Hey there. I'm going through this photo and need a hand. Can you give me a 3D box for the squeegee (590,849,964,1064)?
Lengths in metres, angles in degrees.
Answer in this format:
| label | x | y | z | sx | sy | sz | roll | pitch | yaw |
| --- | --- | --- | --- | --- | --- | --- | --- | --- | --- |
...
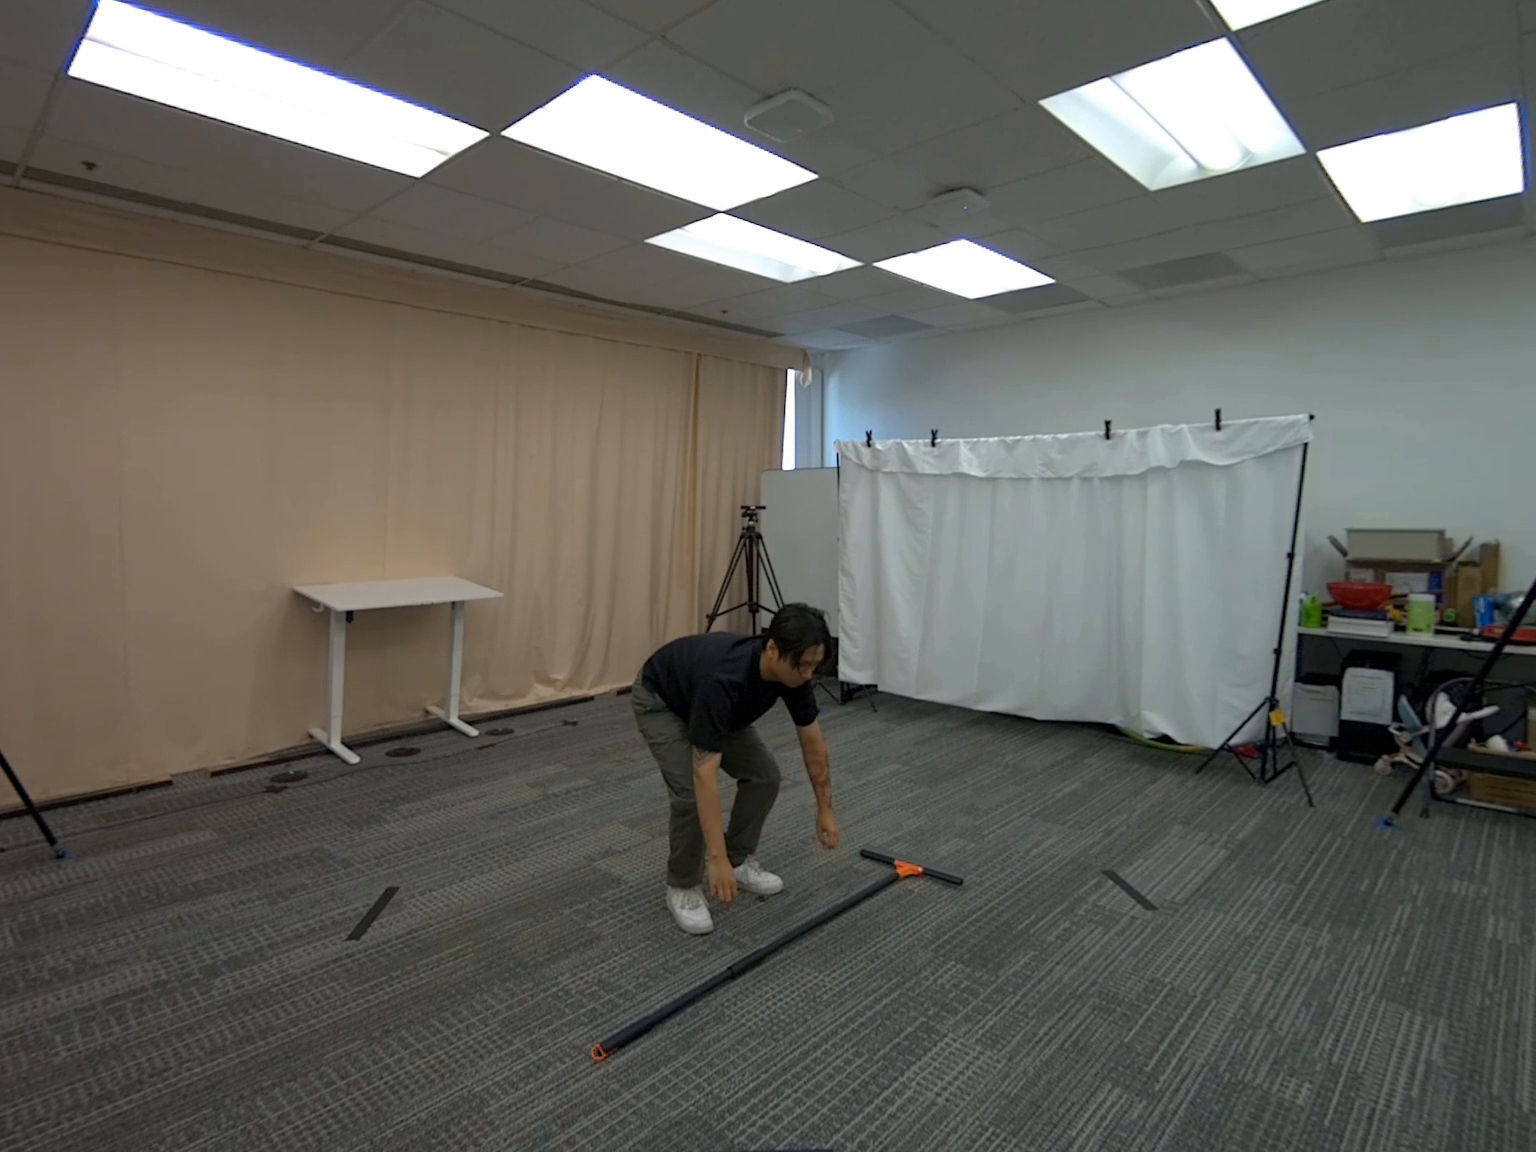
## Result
| label | x | y | z | sx | sy | sz | roll | pitch | yaw |
| --- | --- | --- | --- | --- | --- | --- | --- | --- | --- |
| squeegee | 0.060 | 1.131 | 2.669 | 0.452 | 0.053 | 1.491 | 2 | 6 | 43 |
